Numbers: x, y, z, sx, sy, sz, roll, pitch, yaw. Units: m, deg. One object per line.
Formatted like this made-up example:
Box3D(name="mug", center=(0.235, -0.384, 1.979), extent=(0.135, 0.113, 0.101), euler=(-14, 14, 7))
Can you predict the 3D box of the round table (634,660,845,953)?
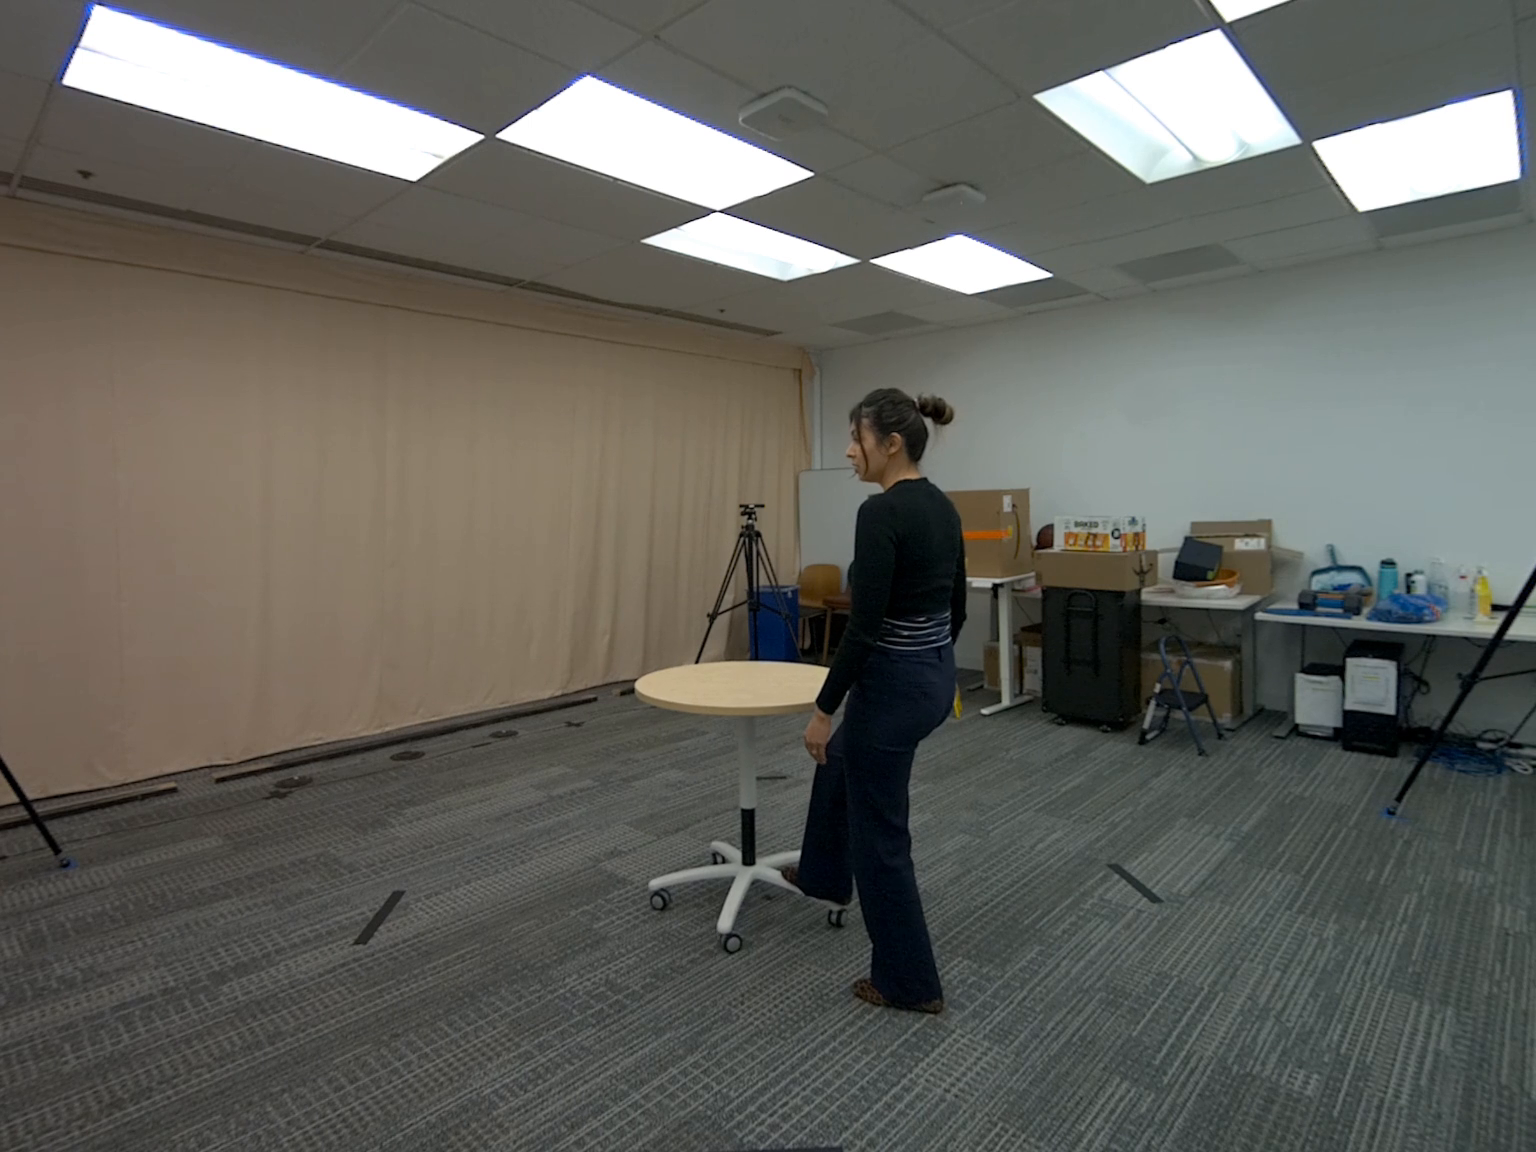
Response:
Box3D(name="round table", center=(-0.070, 0.757, 2.924), extent=(0.763, 0.792, 0.766), euler=(-1, 3, -2))
